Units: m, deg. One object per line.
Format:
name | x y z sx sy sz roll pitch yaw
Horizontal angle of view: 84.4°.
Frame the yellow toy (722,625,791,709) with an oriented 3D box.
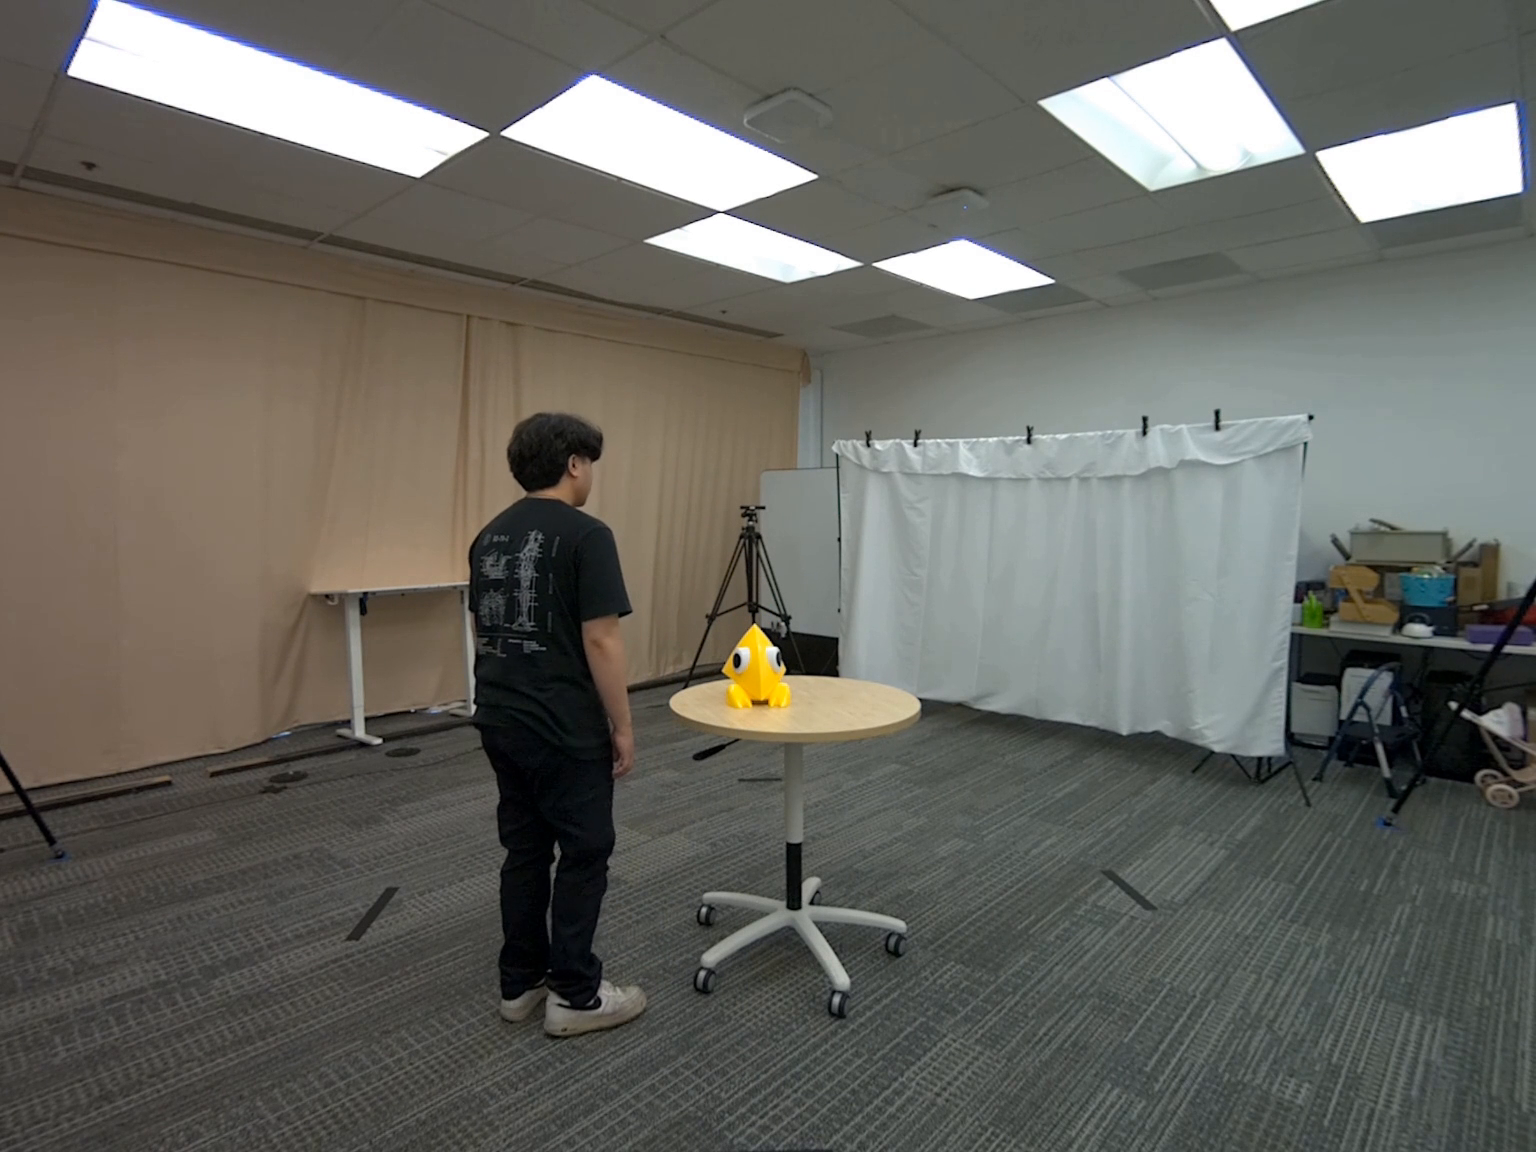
yellow toy | -0.022 0.271 2.581 0.203 0.230 0.194 0 2 -6
